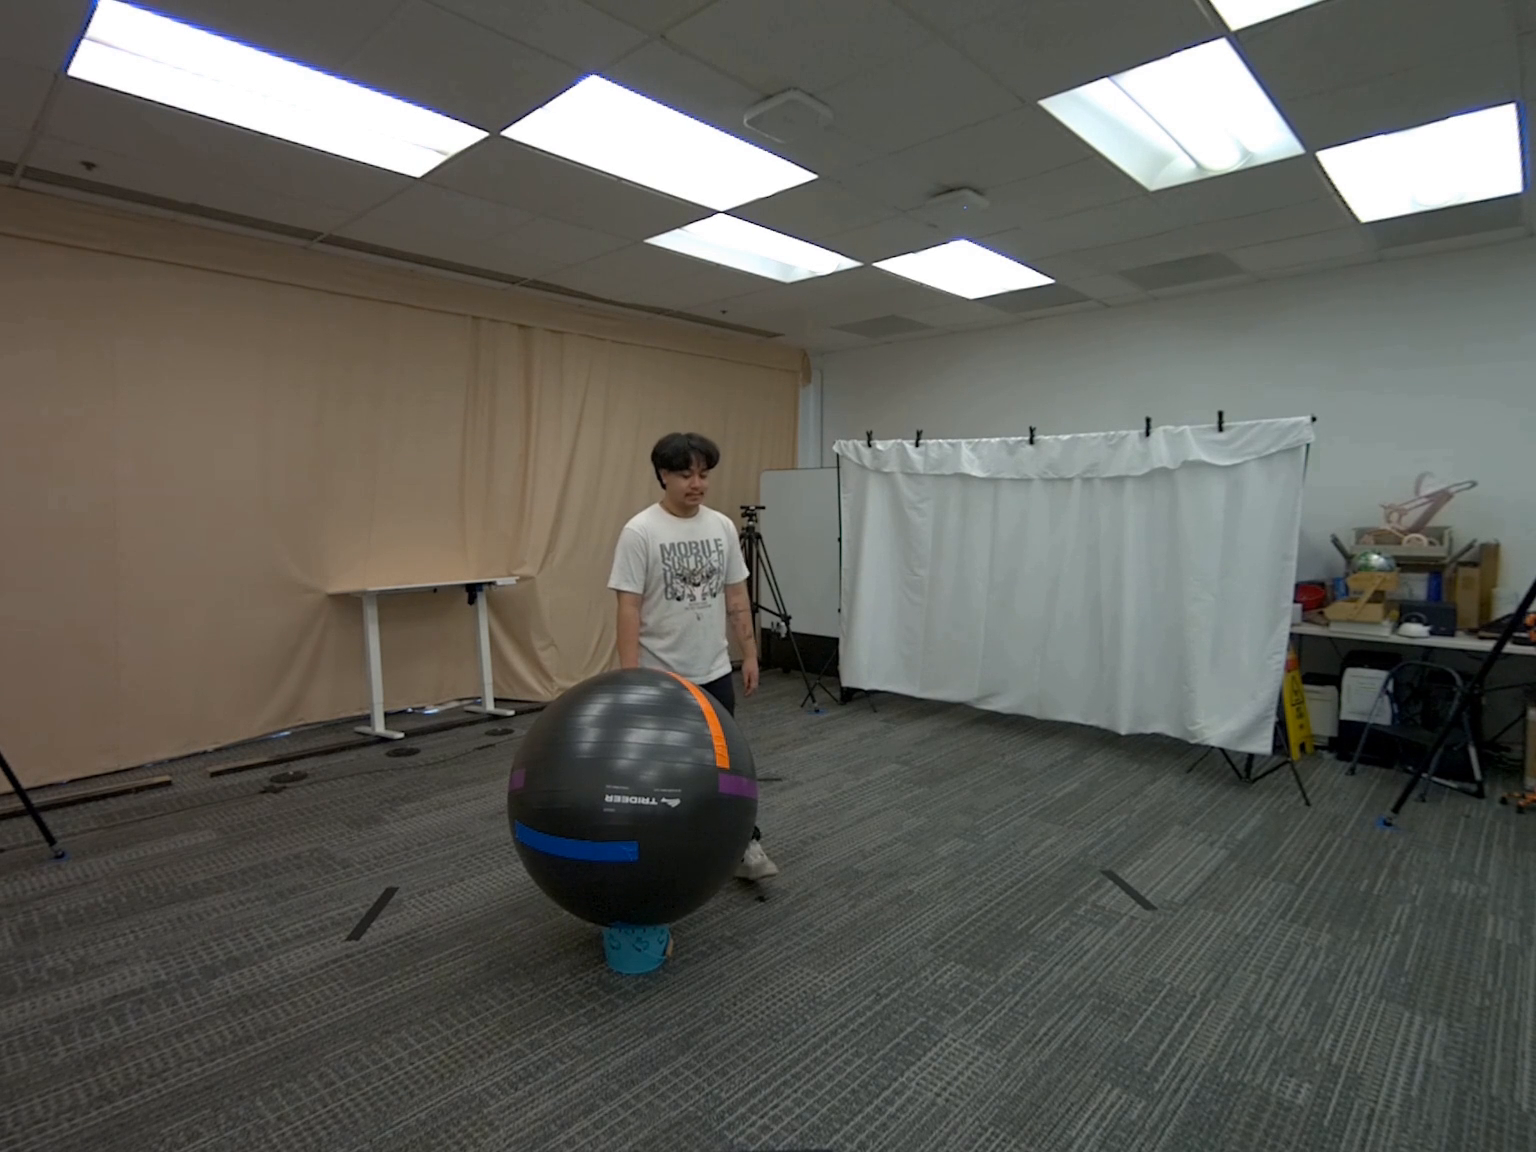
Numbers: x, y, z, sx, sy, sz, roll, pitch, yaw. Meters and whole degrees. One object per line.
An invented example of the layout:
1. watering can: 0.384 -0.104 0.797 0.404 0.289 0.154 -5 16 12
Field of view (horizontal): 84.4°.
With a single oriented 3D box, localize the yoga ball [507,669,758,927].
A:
1. yoga ball: -0.416 0.664 2.581 0.757 0.756 0.761 0 4 -2
